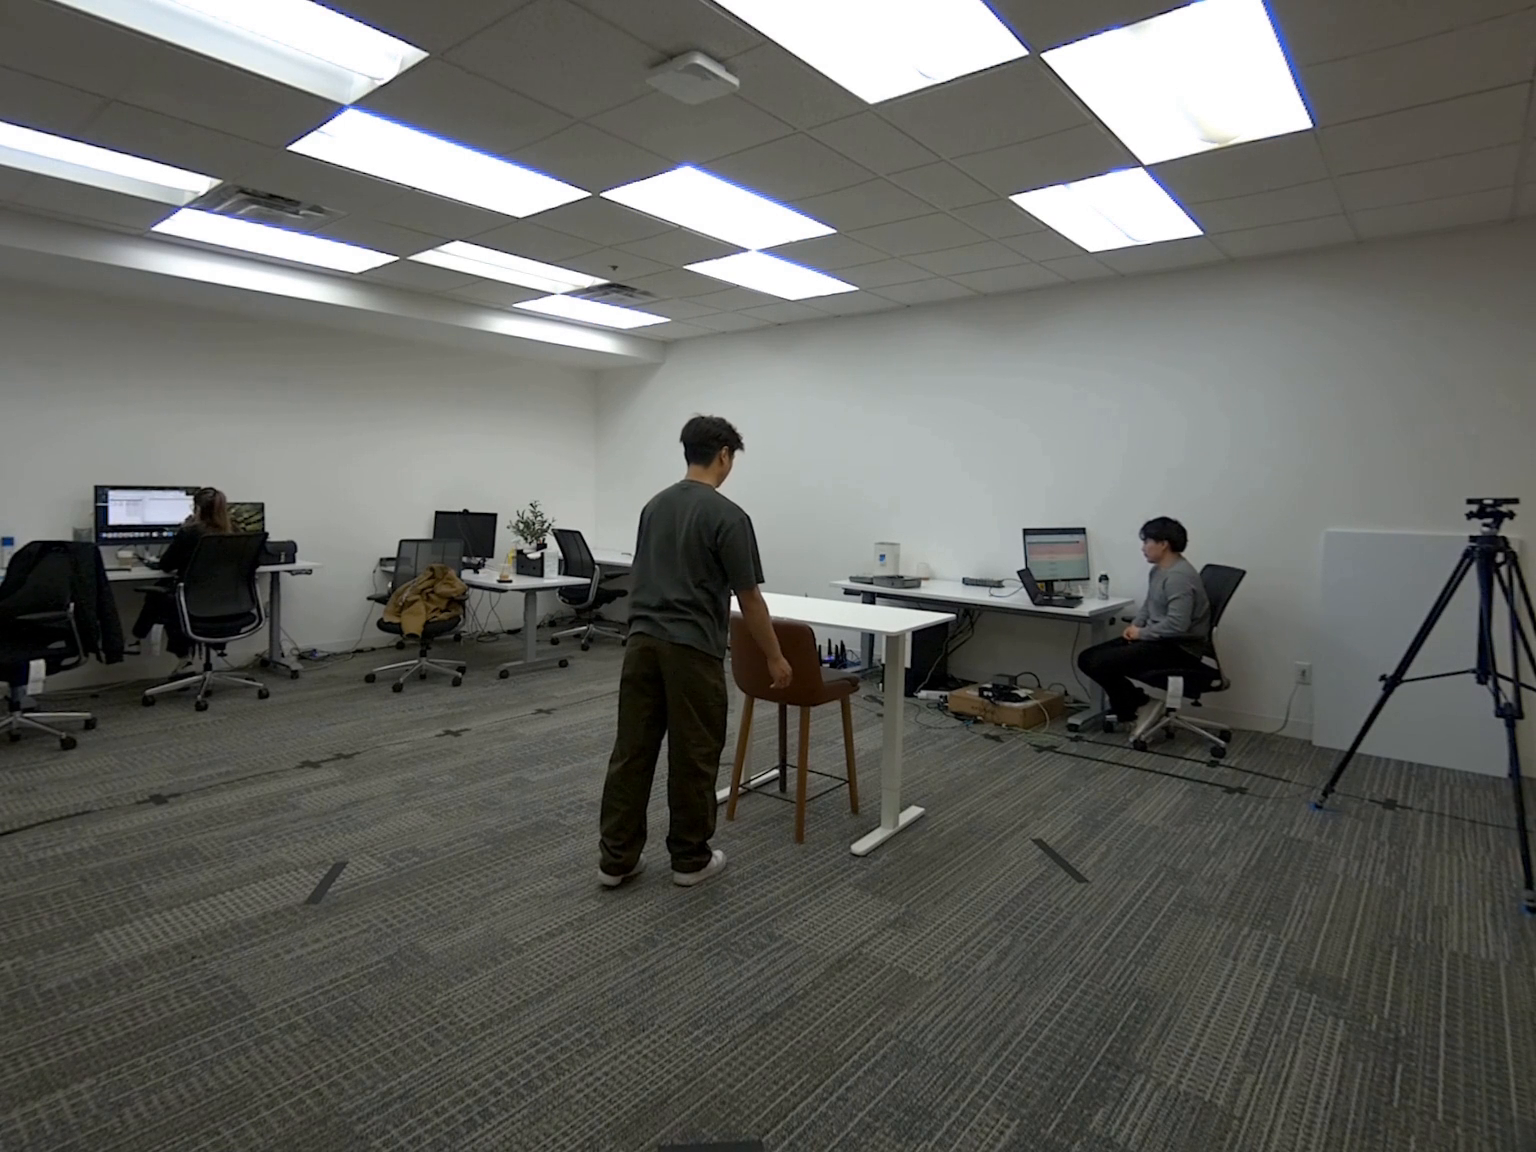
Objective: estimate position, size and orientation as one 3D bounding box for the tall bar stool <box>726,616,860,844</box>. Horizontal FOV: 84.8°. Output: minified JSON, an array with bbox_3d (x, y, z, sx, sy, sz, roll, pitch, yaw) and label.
[{"bbox_3d":[0.097,0.587,3.607,0.471,0.885,0.455,3,6,37],"label":"tall bar stool"}]
